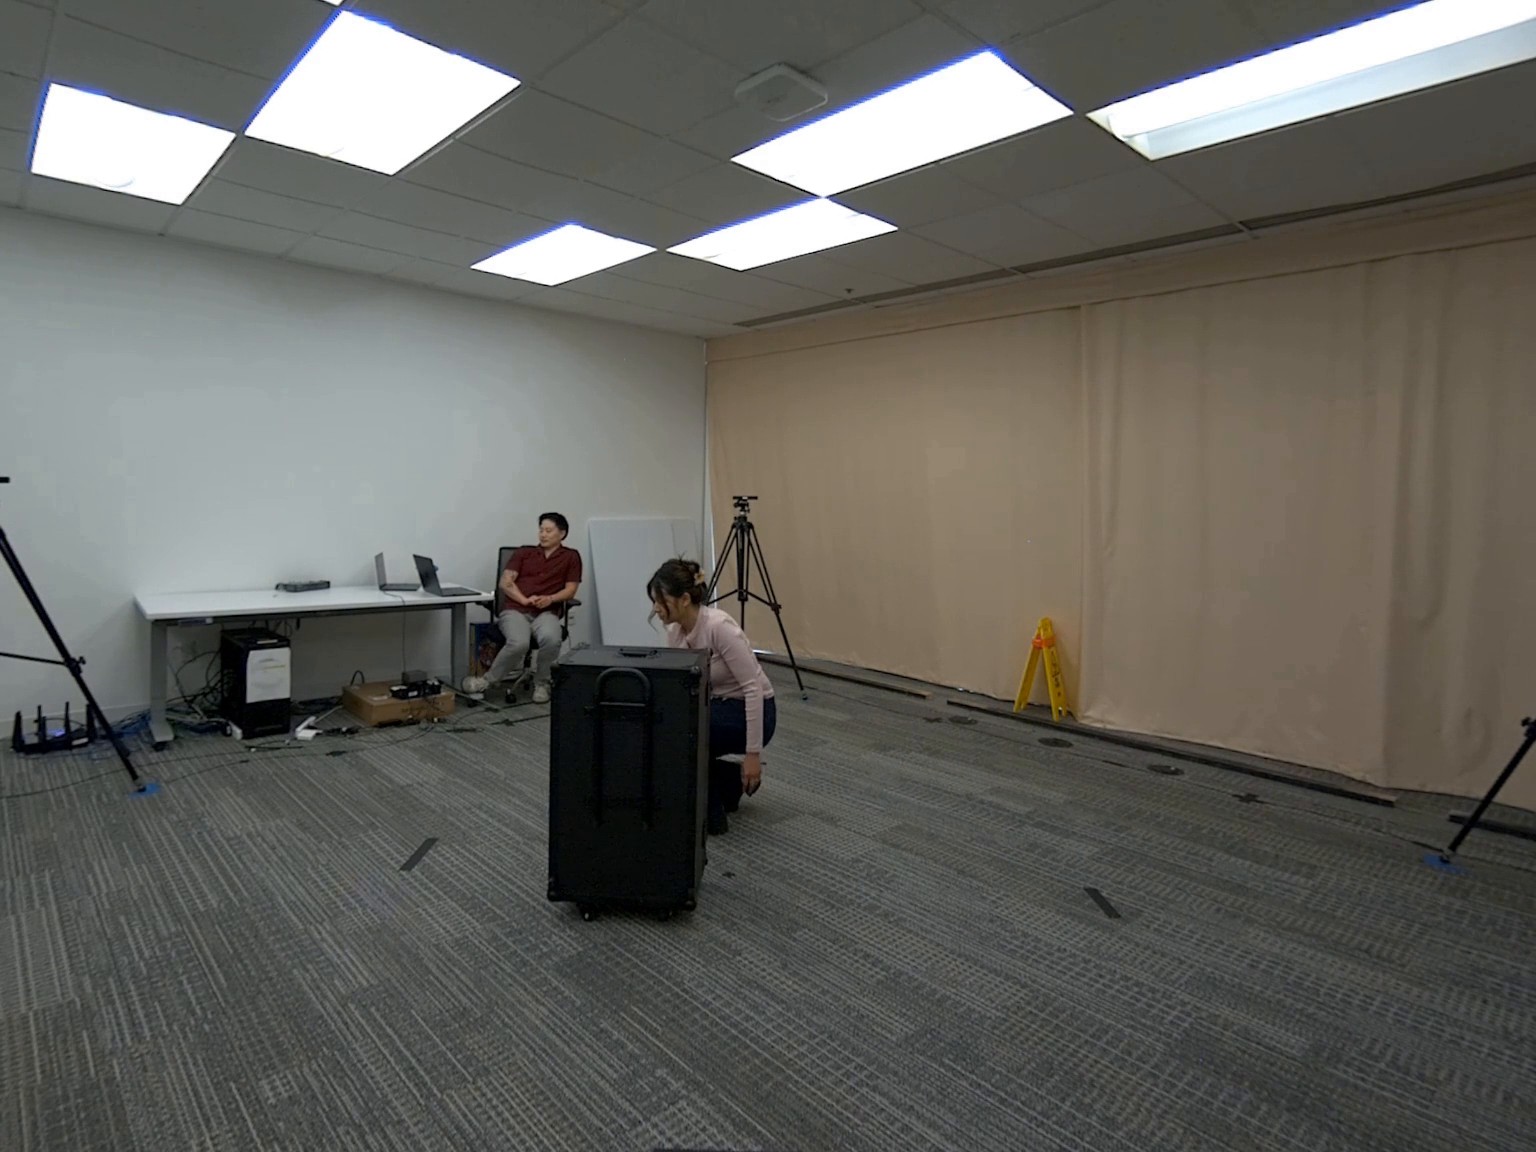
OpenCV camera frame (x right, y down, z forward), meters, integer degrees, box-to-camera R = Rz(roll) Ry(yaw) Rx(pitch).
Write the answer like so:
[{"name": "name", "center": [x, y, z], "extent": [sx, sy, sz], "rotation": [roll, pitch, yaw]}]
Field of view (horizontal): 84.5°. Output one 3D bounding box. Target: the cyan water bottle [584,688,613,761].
[{"name": "cyan water bottle", "center": [-0.715, 0.622, 3.569], "extent": [0.092, 0.283, 0.092], "rotation": [2, -1, -1]}]
